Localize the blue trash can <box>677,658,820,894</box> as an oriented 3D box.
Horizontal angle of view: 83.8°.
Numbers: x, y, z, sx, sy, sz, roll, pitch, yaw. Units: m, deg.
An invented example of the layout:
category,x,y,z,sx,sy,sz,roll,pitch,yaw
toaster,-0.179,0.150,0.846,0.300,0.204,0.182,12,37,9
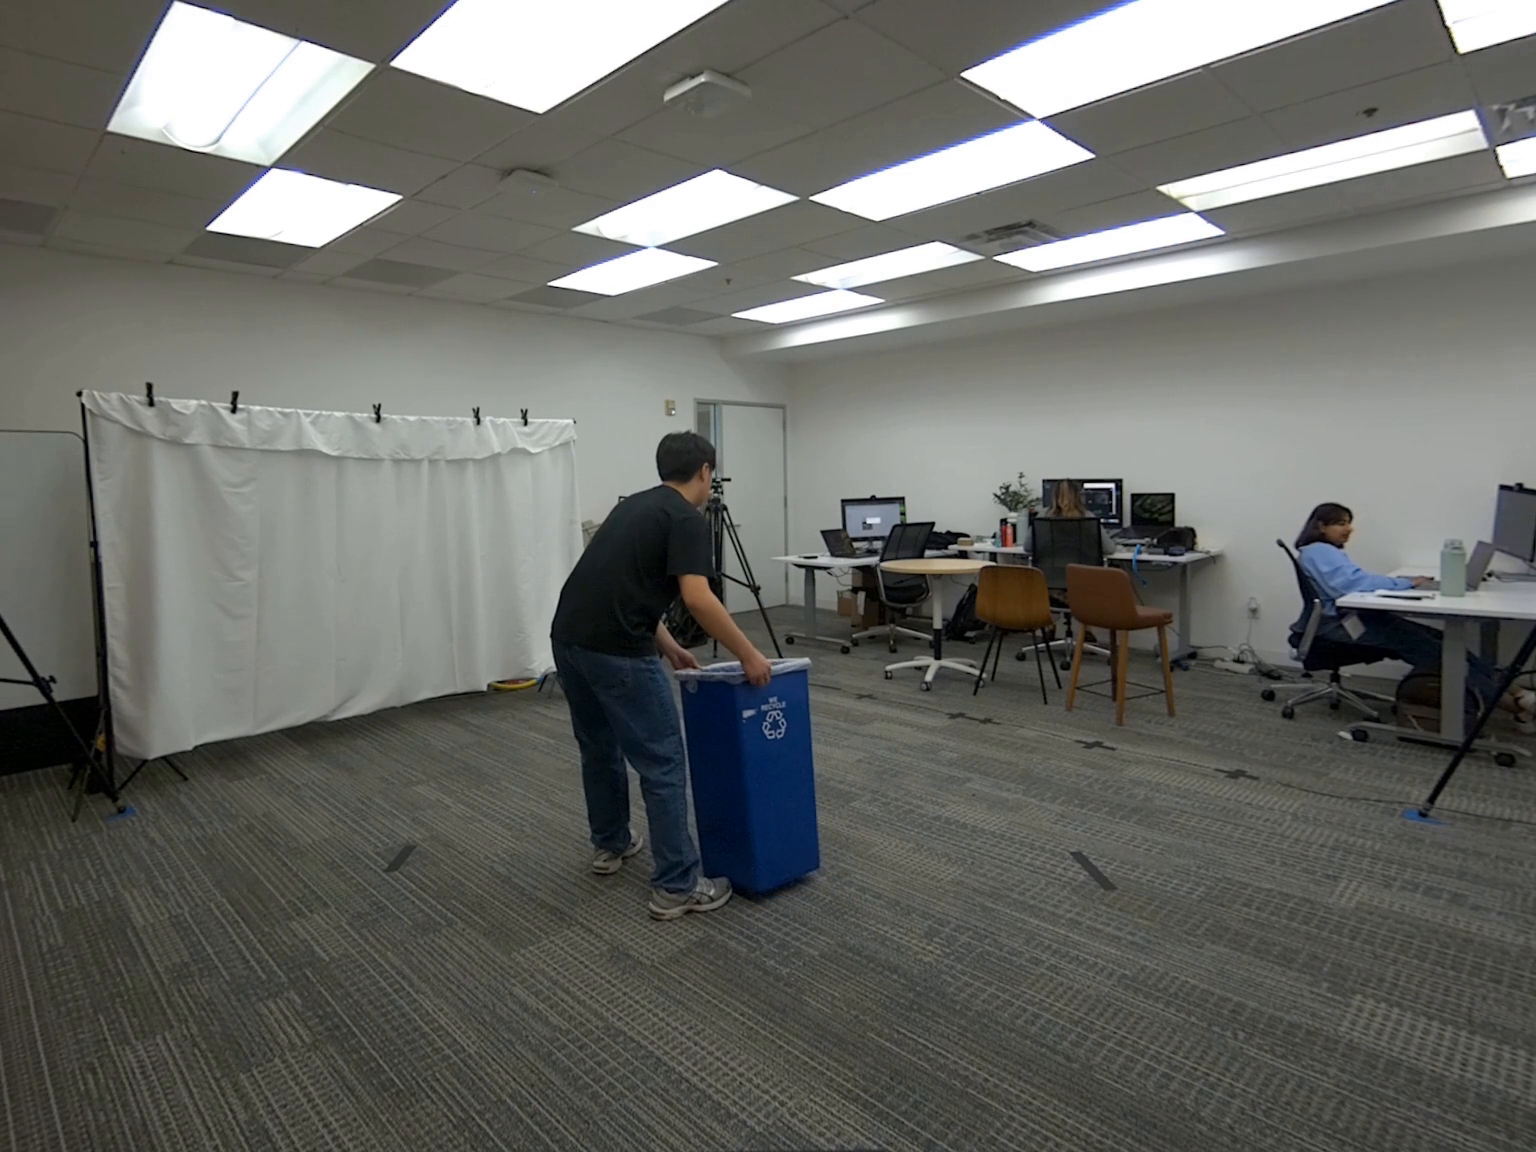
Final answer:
category,x,y,z,sx,sy,sz,roll,pitch,yaw
blue trash can,-0.051,0.675,3.022,0.364,0.716,0.387,-3,-4,-40
